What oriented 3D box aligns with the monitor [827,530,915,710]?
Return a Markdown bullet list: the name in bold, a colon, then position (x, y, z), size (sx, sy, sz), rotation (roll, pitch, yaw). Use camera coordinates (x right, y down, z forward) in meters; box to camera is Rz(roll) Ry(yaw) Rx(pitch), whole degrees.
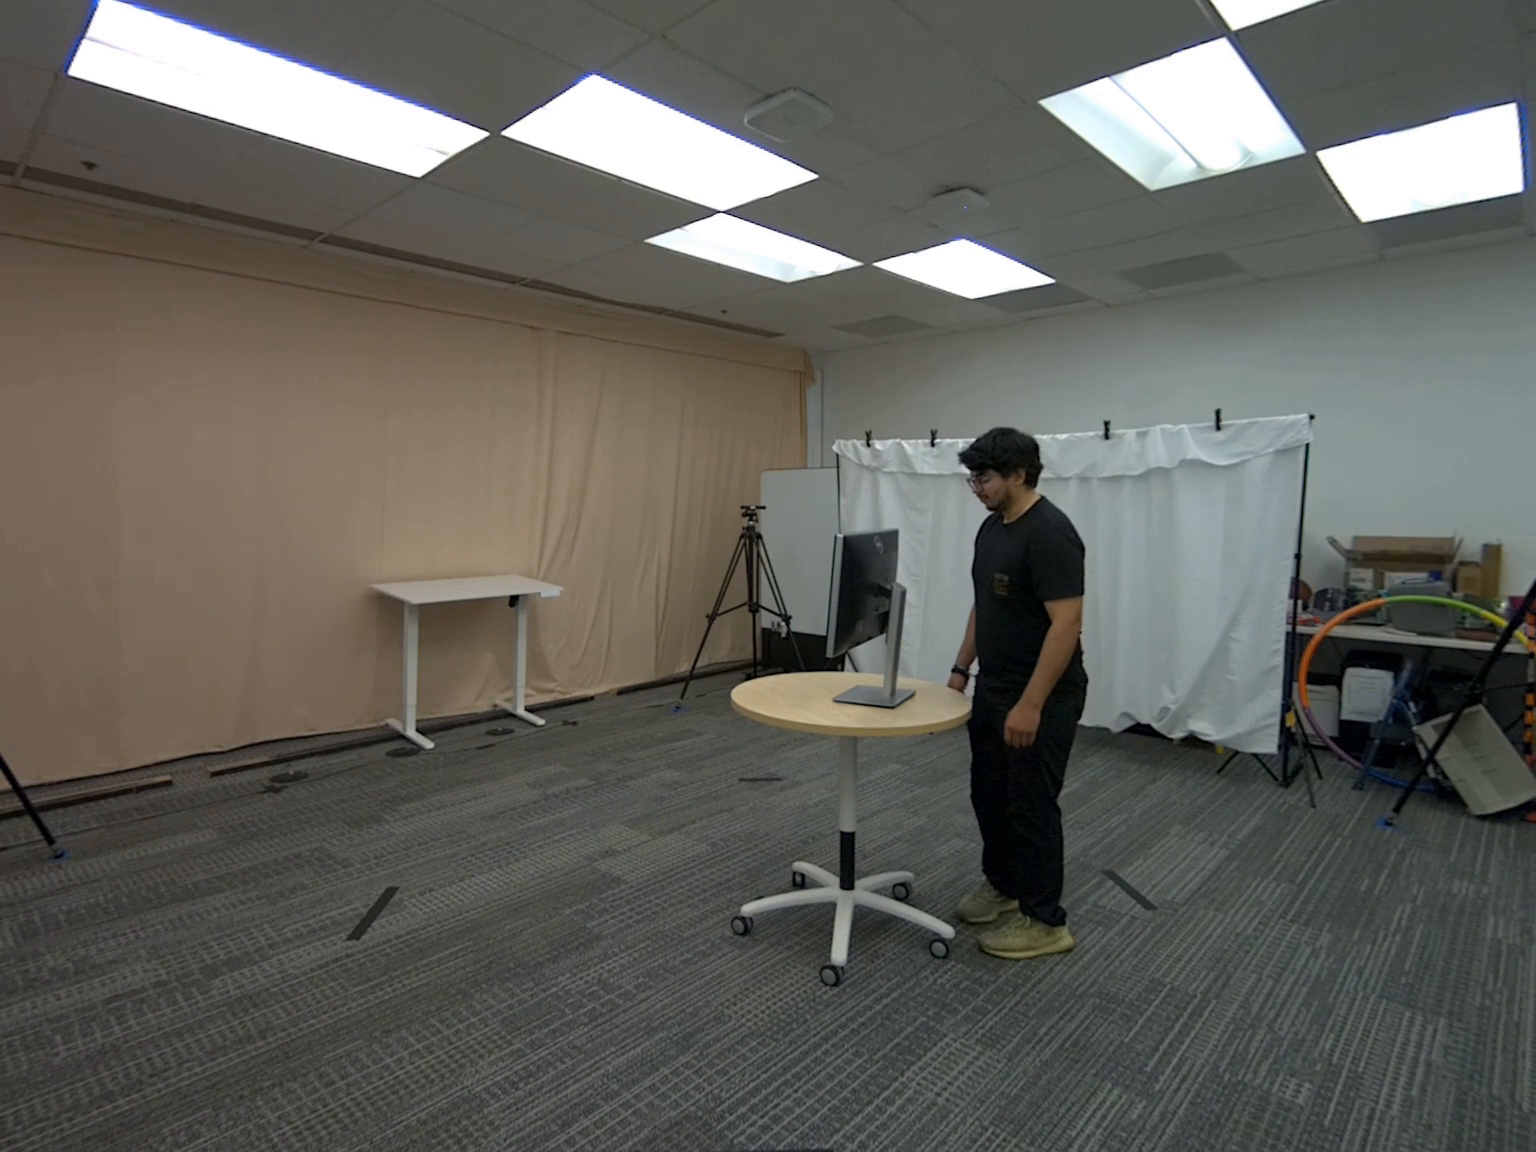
- **monitor**: position (0.375, 0.134, 2.667), size (0.216, 0.552, 0.551), rotation (4, 5, 27)
